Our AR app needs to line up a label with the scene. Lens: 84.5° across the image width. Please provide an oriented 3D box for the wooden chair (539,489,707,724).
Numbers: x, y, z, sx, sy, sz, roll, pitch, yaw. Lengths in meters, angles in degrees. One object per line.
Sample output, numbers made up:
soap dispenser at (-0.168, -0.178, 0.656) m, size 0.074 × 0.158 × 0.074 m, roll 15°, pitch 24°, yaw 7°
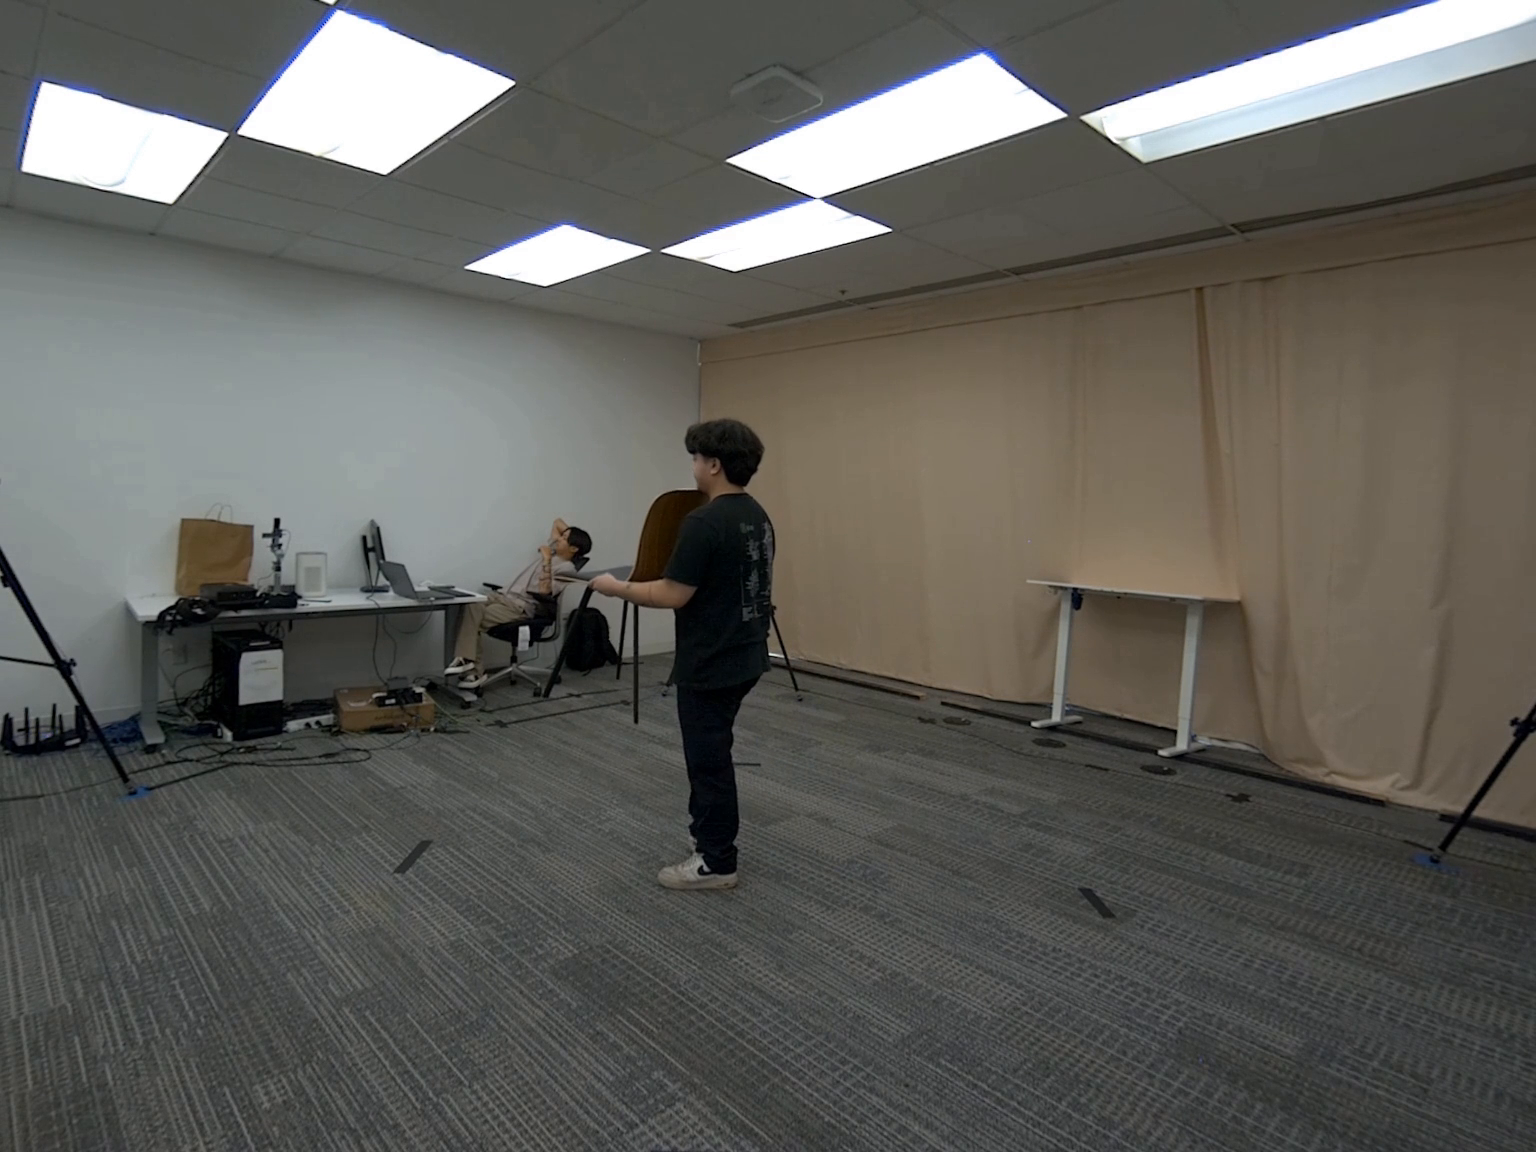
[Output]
wooden chair at (-0.529, 0.068, 3.244) m, size 0.536 × 0.873 × 0.469 m, roll 12°, pitch 8°, yaw 29°
